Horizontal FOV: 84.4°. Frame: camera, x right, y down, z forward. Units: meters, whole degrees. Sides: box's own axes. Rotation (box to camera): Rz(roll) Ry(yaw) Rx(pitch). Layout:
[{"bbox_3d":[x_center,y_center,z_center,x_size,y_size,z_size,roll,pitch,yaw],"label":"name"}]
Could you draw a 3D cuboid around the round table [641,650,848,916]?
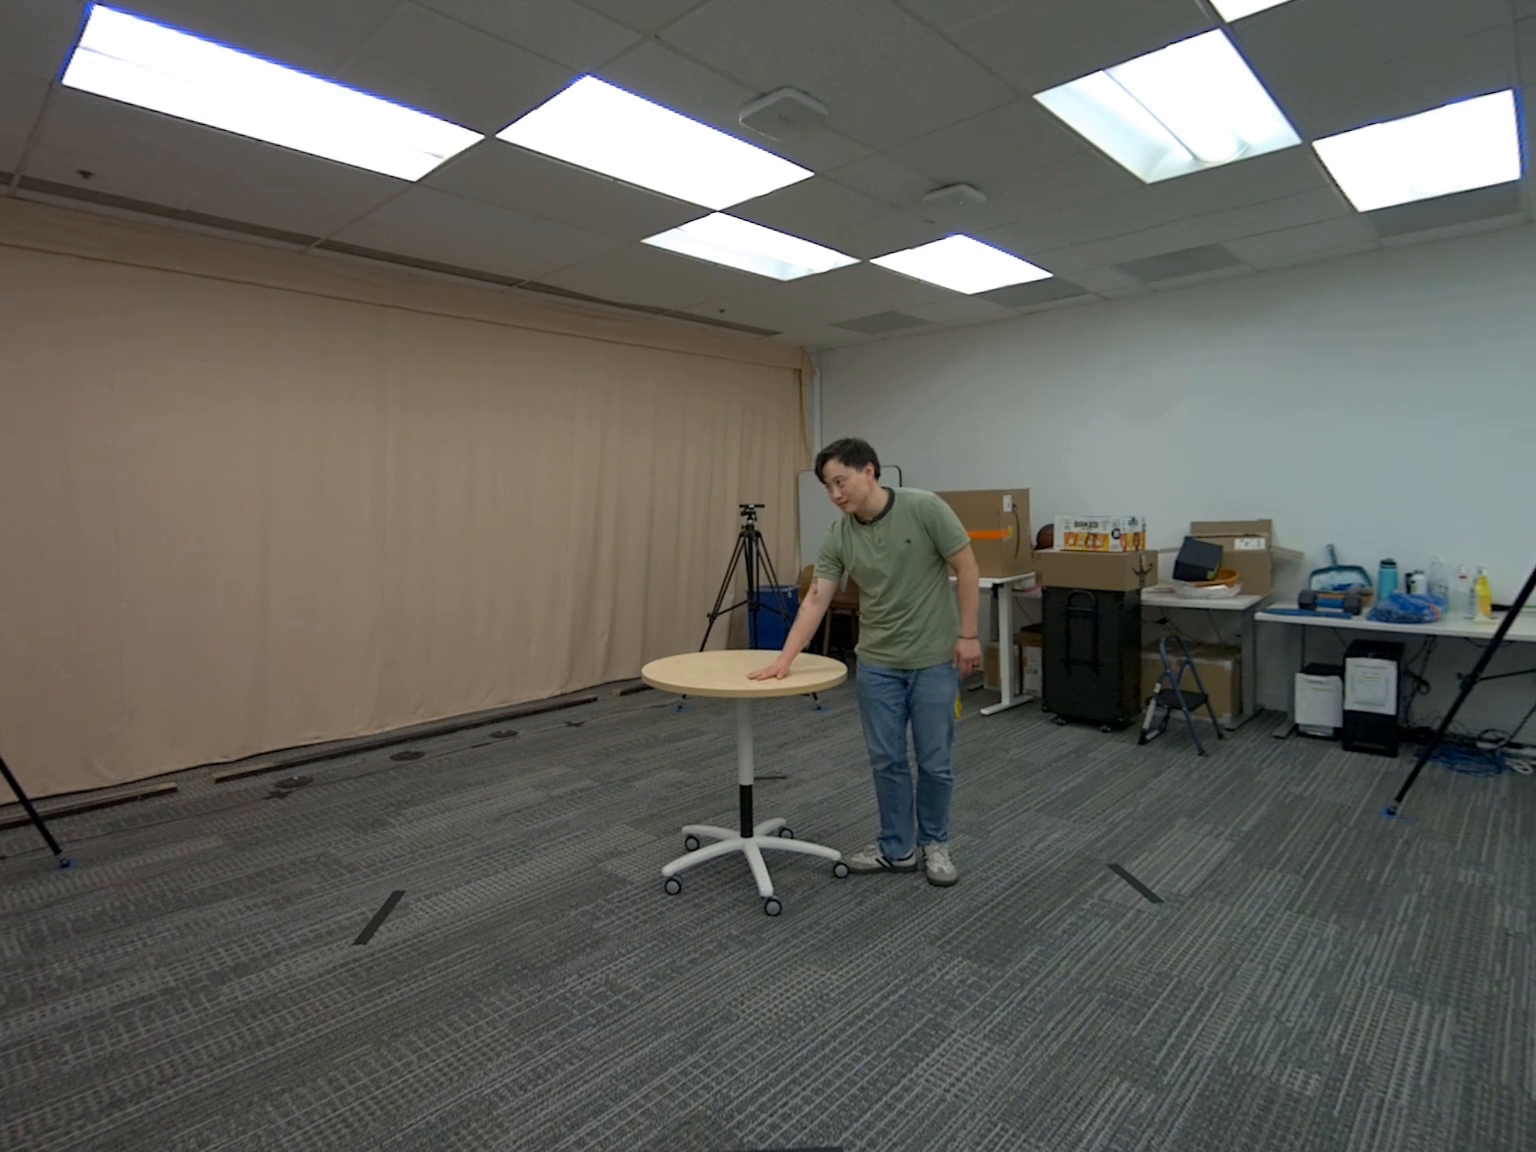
[{"bbox_3d":[-0.082,0.737,3.175,0.763,0.792,0.767,-1,4,-2],"label":"round table"}]
